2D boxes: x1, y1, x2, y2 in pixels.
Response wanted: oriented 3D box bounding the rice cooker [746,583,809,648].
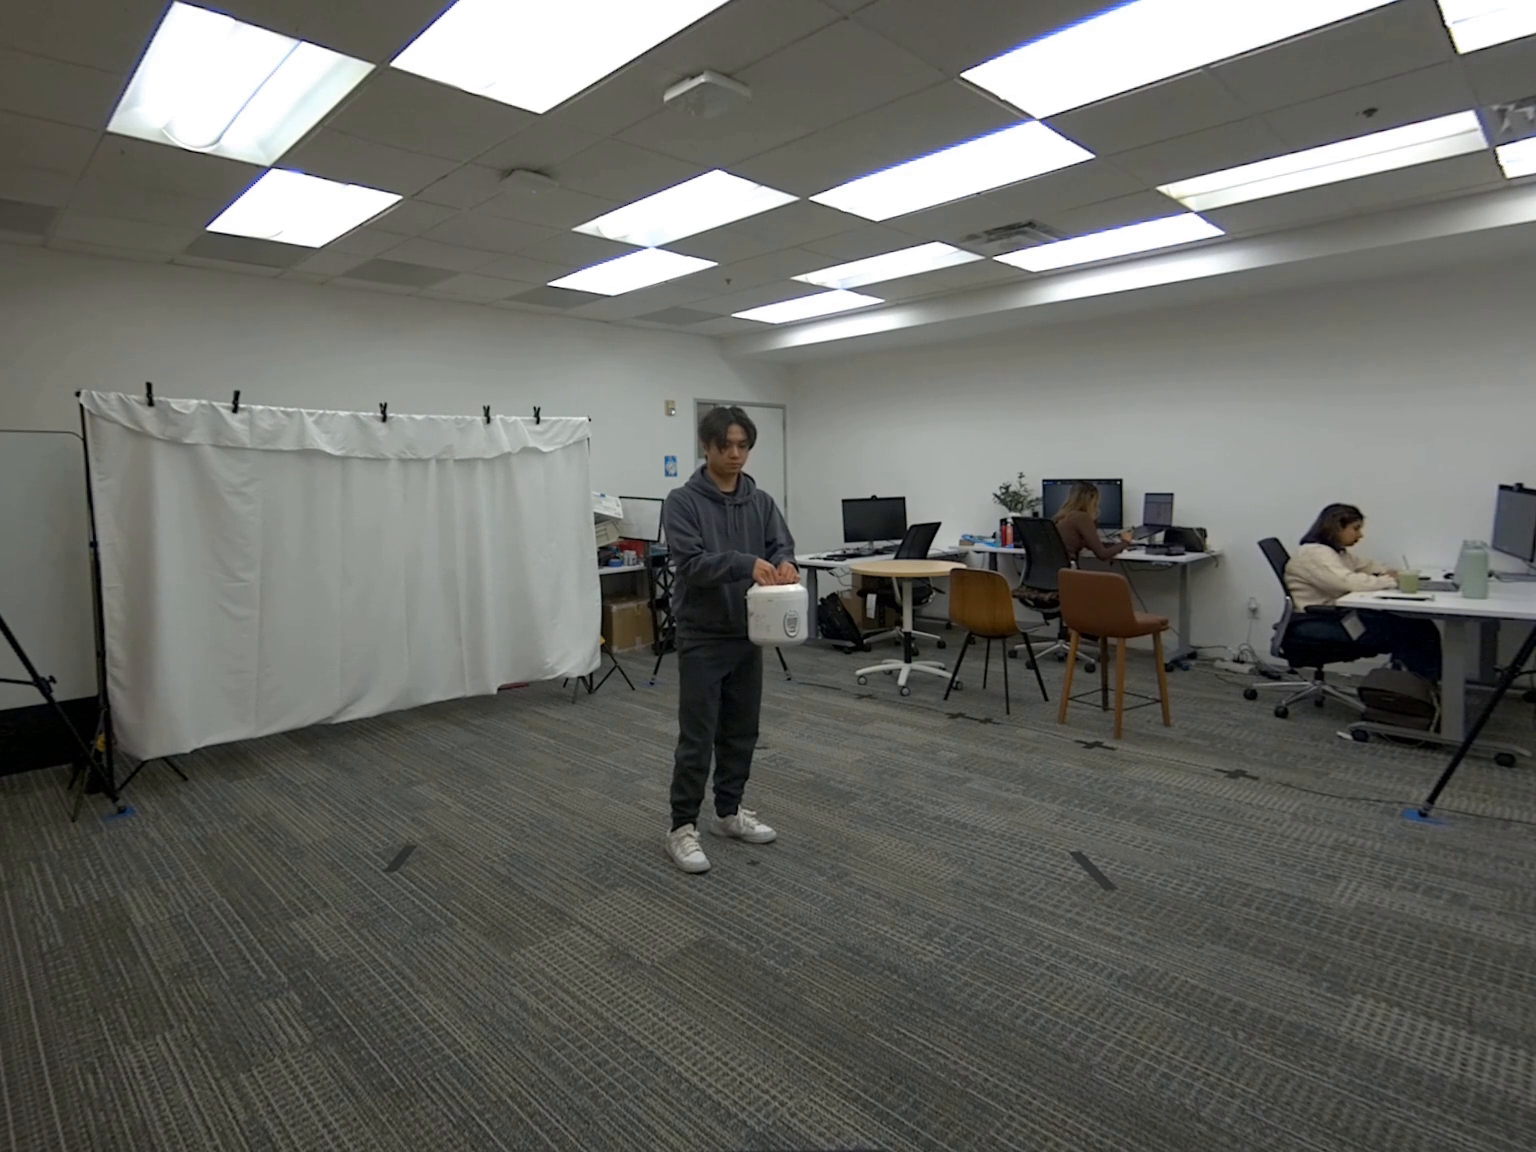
[{"bbox_3d":[0.040,0.119,2.956,0.216,0.233,0.222,-3,1,-23],"label":"rice cooker"}]
